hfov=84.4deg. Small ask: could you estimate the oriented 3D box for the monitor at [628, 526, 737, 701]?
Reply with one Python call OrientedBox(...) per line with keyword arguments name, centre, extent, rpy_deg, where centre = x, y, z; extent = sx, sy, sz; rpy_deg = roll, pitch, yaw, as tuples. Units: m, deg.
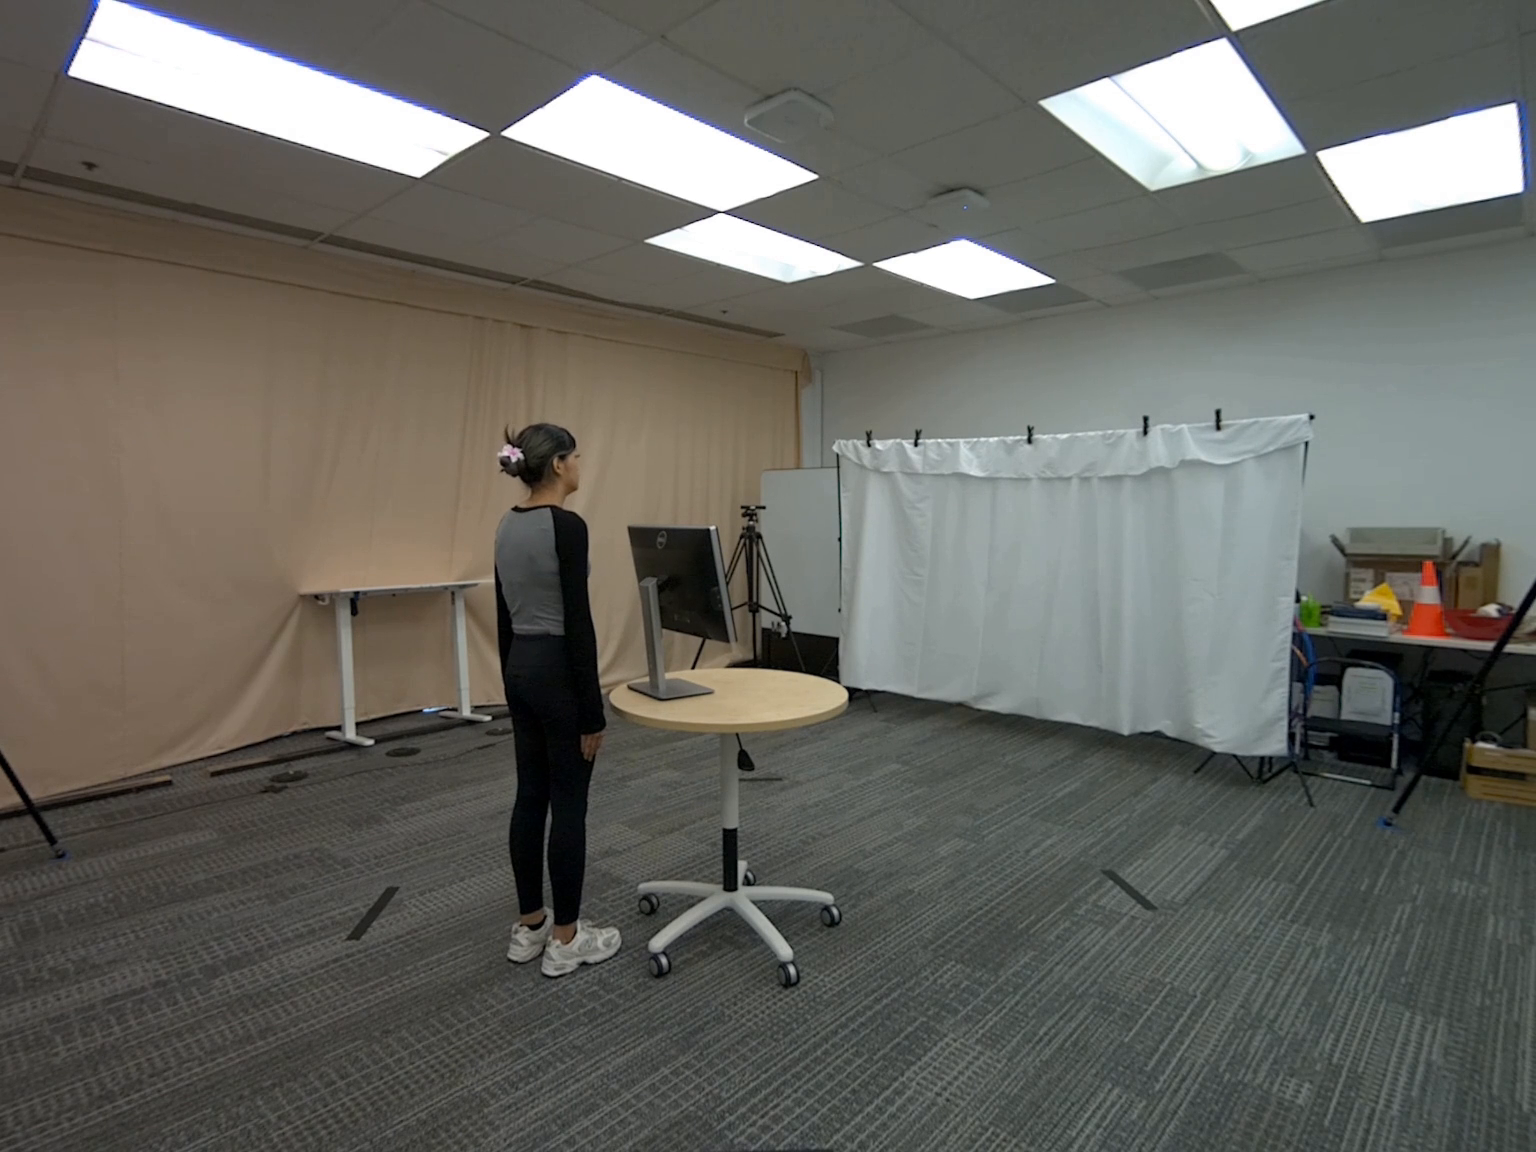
OrientedBox(name="monitor", centre=(-0.322, 0.108, 2.736), extent=(0.181, 0.522, 0.556), rpy_deg=(0, 4, -37))
